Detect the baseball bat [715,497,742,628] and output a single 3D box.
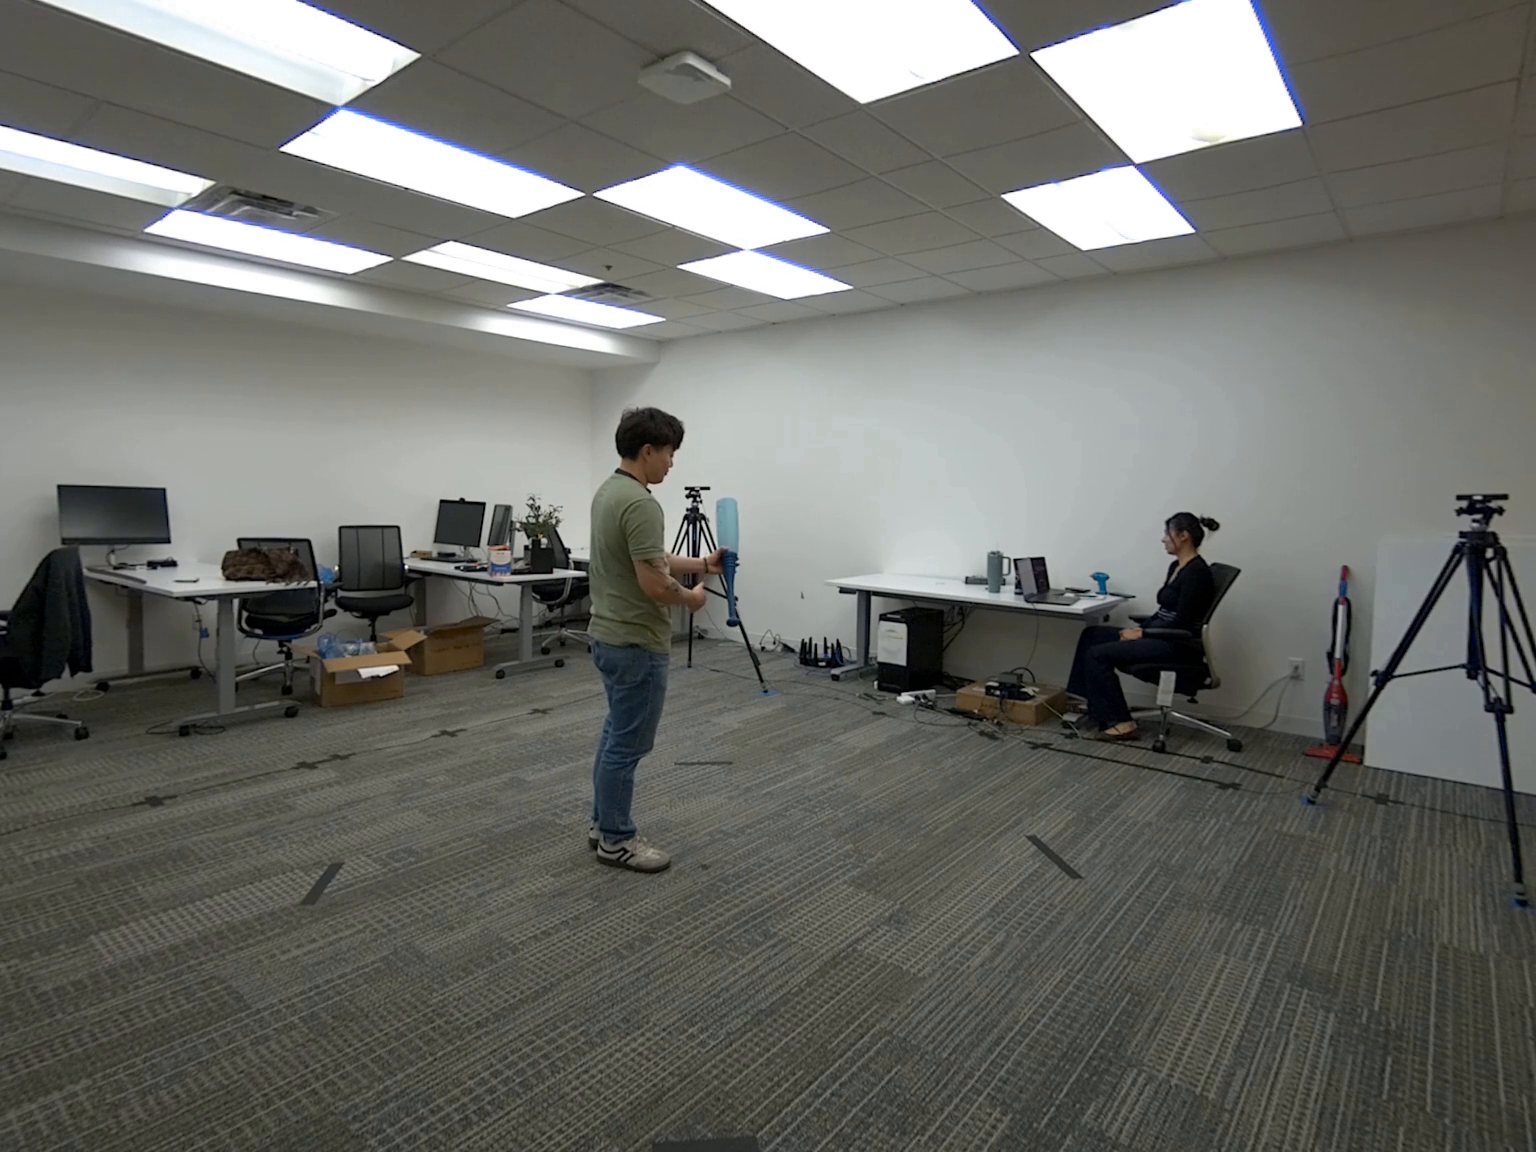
[{"bbox_3d":[-0.160,-0.058,3.304,0.089,0.557,0.087,-3,-28,-3],"label":"baseball bat"}]
